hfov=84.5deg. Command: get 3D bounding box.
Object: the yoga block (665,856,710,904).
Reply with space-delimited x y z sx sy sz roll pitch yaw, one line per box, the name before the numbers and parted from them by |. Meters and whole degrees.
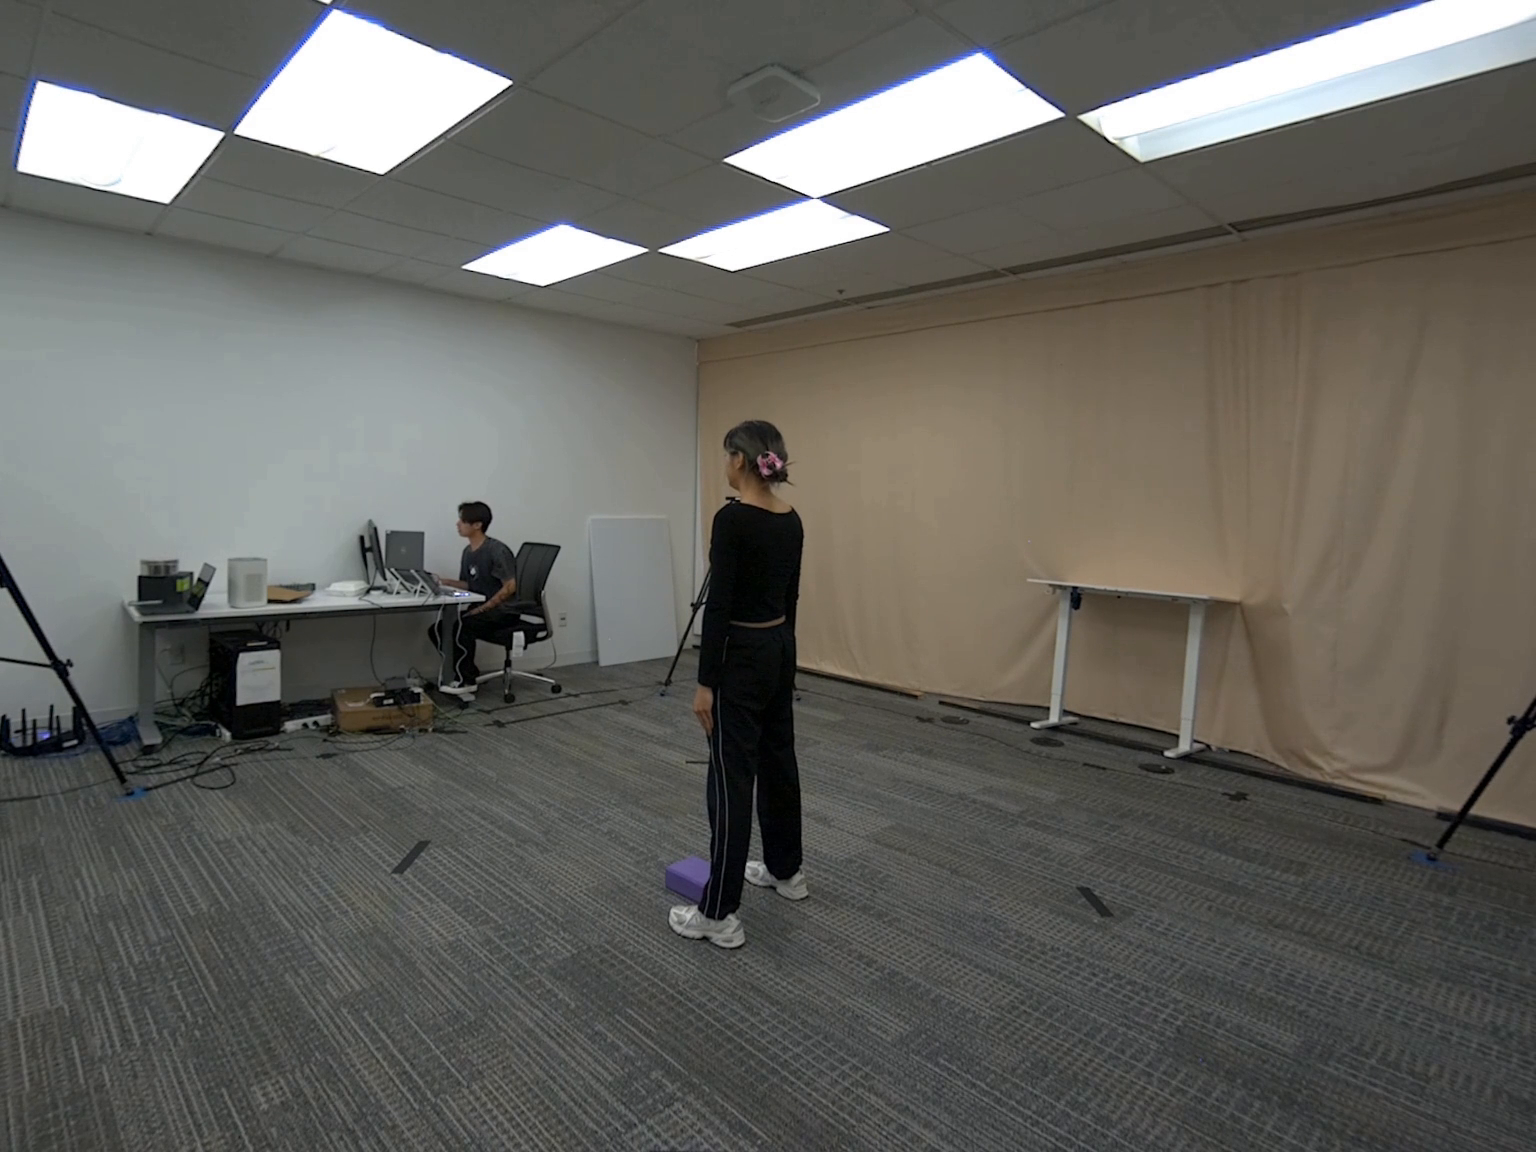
yoga block | -0.242 1.073 2.974 0.235 0.076 0.146 4 7 42
